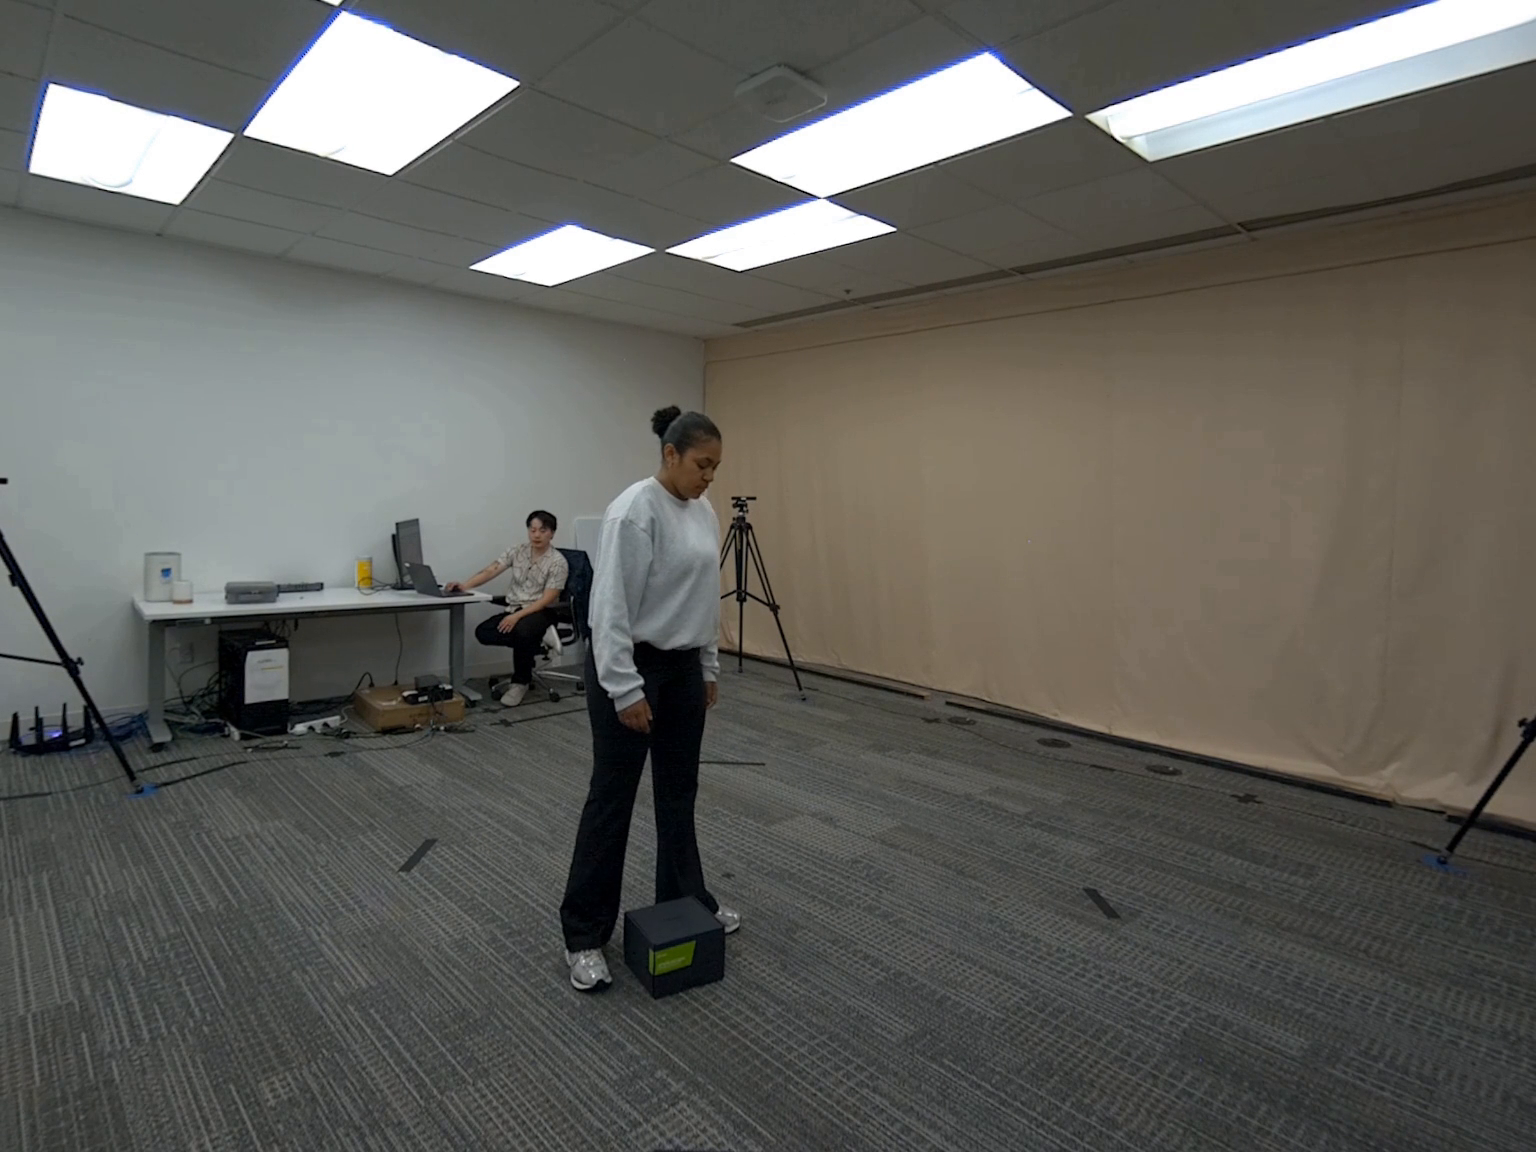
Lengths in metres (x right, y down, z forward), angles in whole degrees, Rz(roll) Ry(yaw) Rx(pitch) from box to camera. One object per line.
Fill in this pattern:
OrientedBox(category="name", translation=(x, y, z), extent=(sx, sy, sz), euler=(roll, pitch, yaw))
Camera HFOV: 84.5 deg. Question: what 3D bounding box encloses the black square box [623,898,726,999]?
OrientedBox(category="black square box", translation=(-0.281, 1.084, 2.456), extent=(0.223, 0.155, 0.222), euler=(-1, 5, -32))
